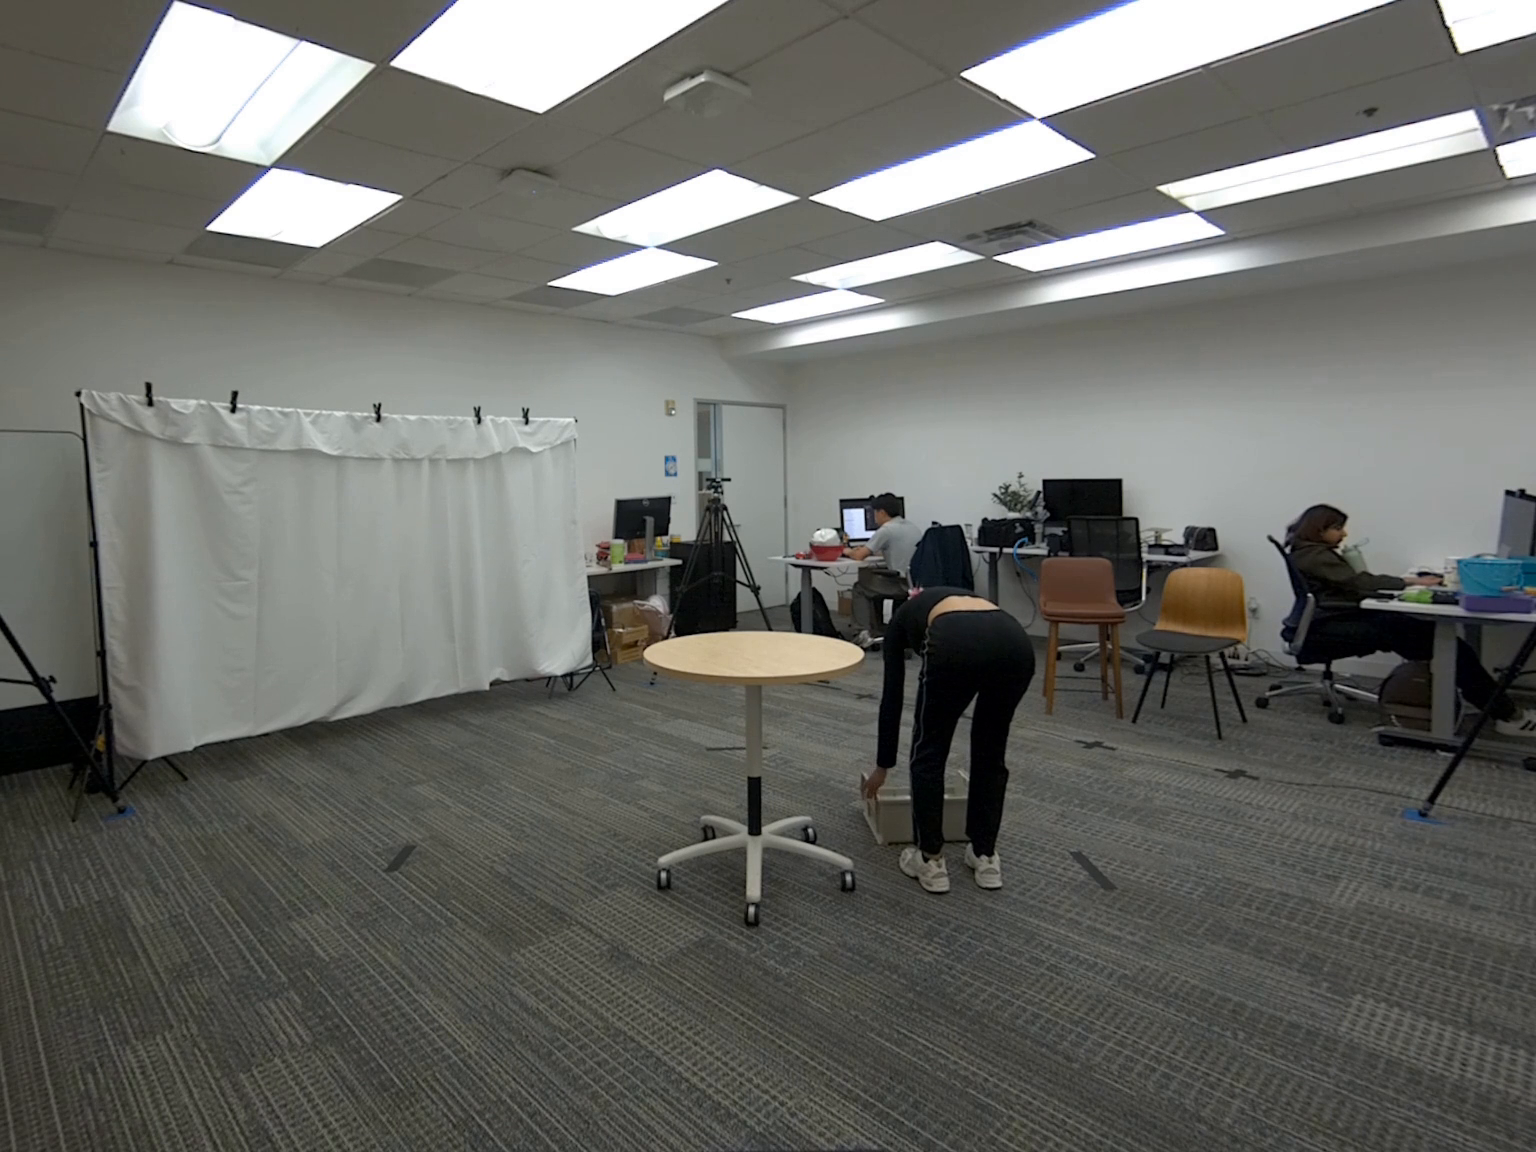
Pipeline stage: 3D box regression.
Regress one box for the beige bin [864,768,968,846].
[{"bbox_3d":[0.613,0.908,3.407,0.421,0.188,0.380,-1,6,-3],"label":"beige bin"}]
